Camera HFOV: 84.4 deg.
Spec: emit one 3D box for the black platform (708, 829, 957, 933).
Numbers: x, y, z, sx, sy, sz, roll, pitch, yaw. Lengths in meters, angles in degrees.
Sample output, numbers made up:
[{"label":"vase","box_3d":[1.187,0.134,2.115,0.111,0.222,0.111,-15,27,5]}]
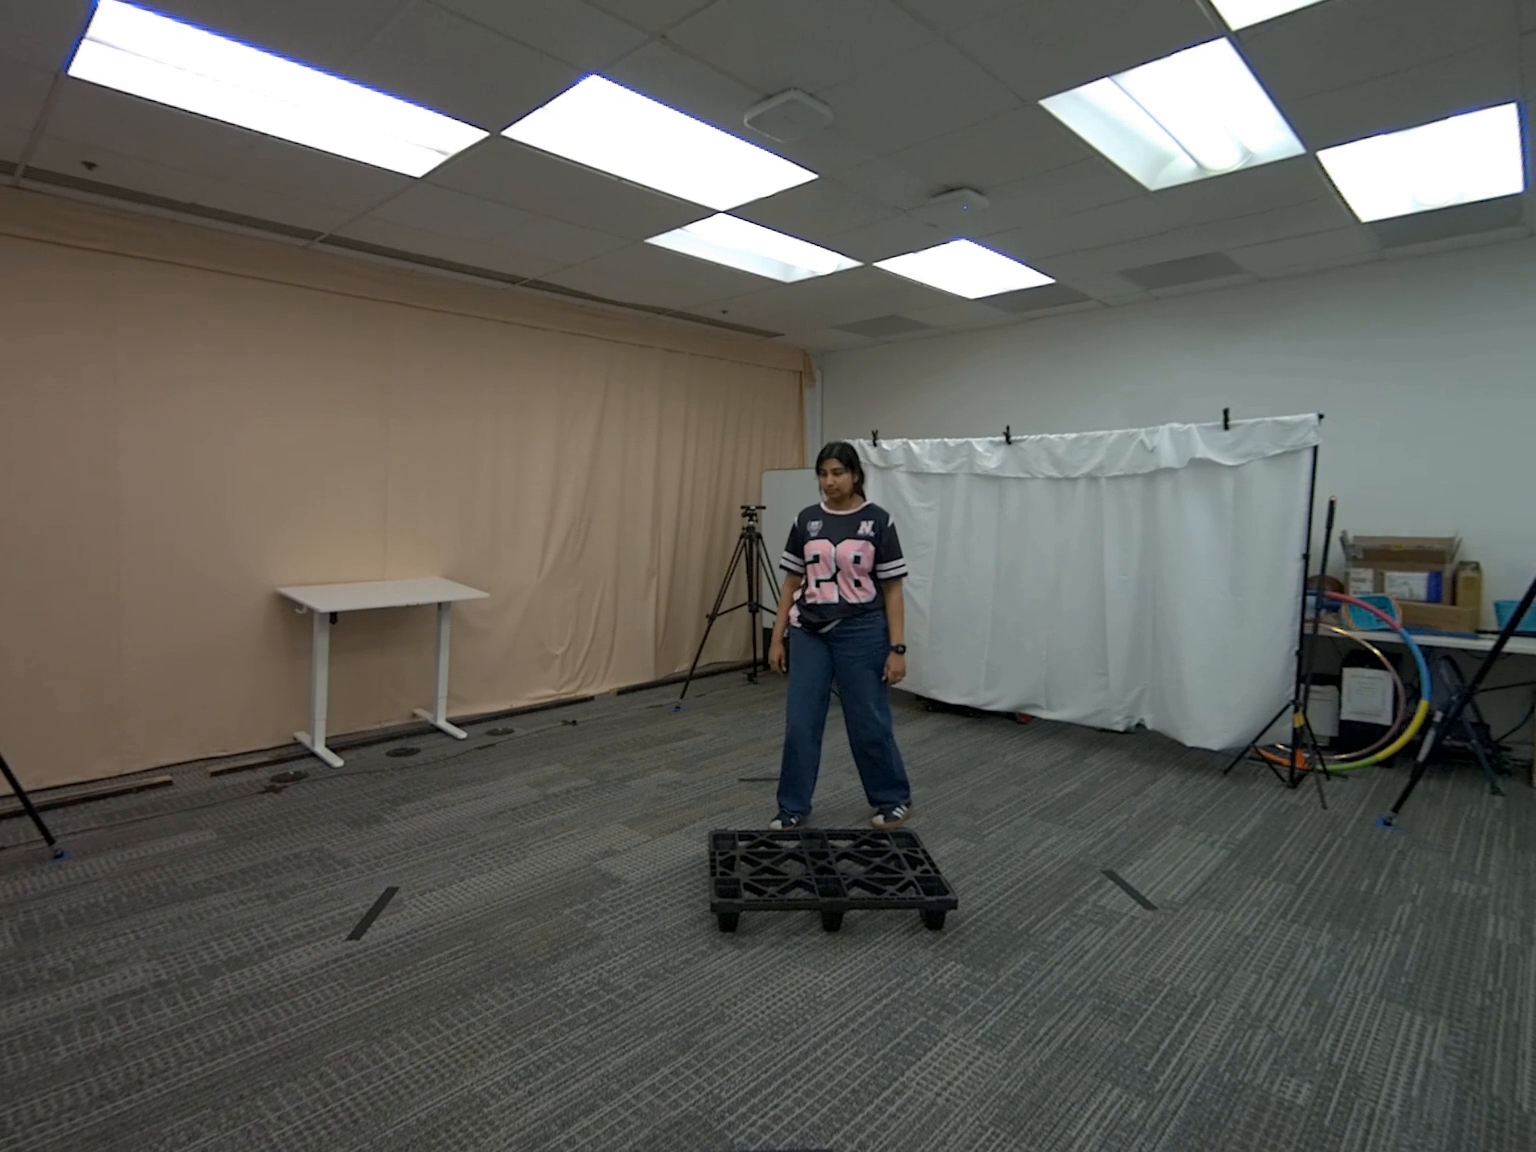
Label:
[{"label":"black platform","box_3d":[0.193,1.075,2.980,0.804,0.143,0.608,-1,5,-2]}]
